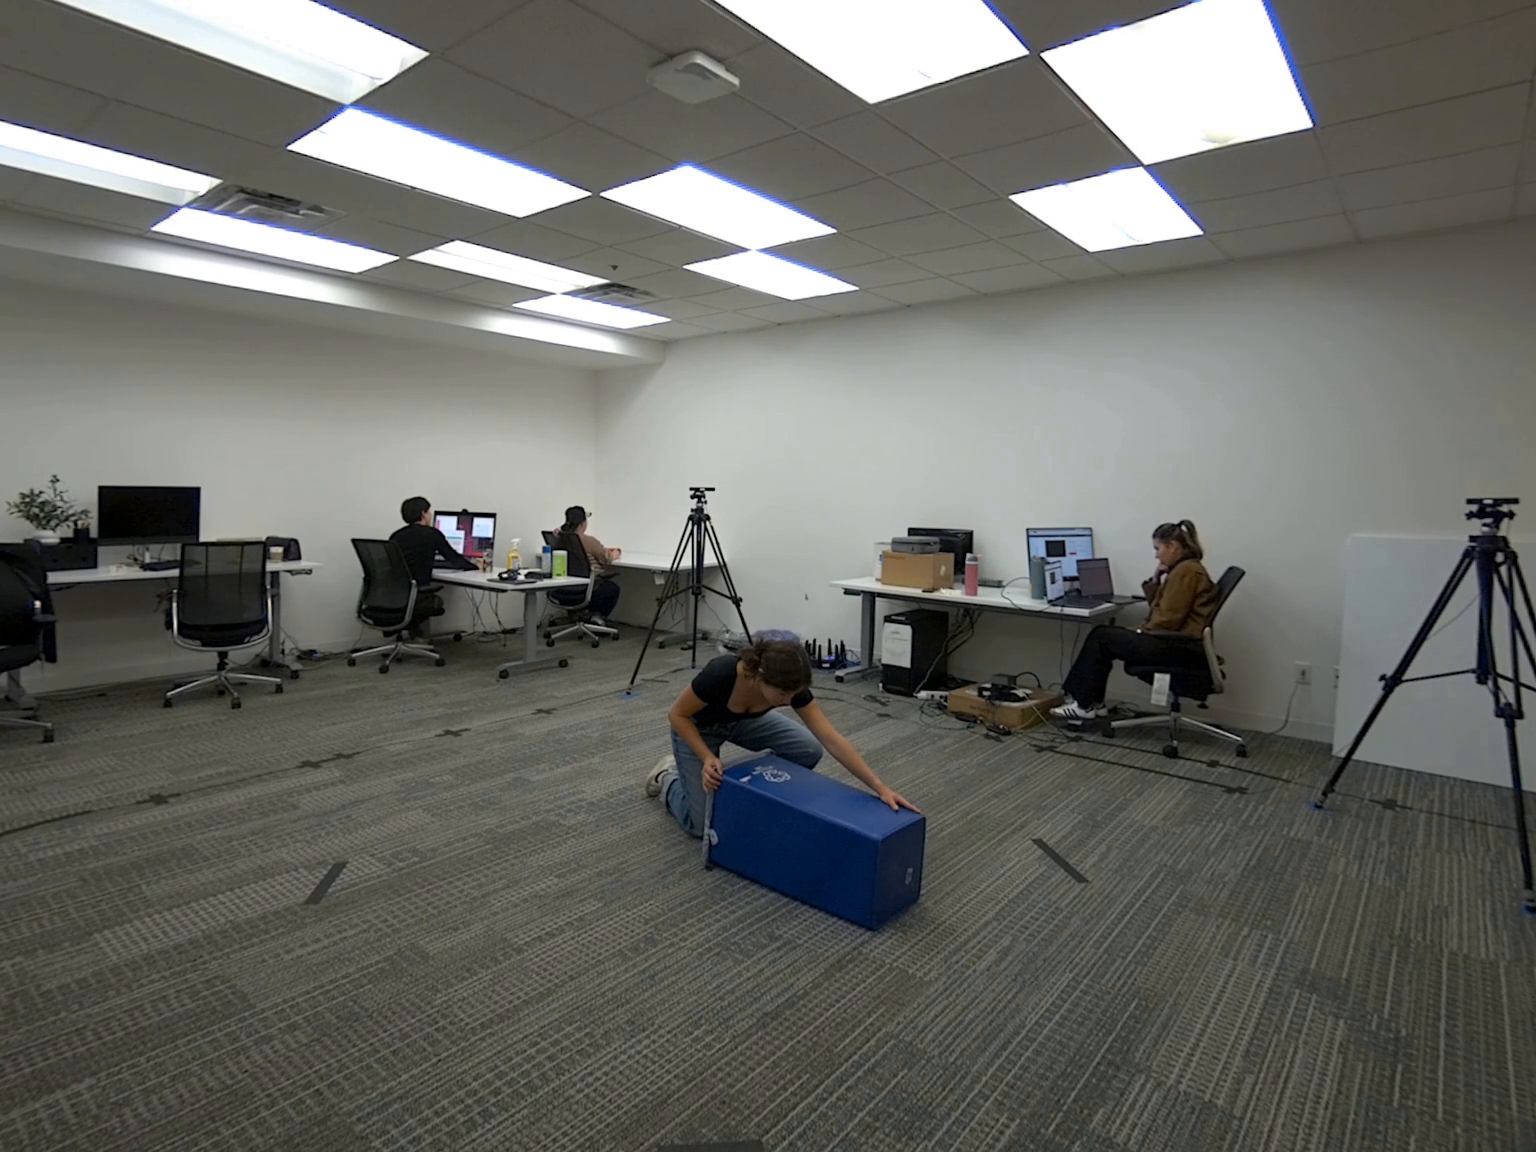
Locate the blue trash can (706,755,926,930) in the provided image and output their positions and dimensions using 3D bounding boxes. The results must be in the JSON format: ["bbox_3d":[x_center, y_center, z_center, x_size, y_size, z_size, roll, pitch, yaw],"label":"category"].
[{"bbox_3d":[0.155,0.920,3.014,0.739,0.376,0.363,9,7,40],"label":"blue trash can"}]
